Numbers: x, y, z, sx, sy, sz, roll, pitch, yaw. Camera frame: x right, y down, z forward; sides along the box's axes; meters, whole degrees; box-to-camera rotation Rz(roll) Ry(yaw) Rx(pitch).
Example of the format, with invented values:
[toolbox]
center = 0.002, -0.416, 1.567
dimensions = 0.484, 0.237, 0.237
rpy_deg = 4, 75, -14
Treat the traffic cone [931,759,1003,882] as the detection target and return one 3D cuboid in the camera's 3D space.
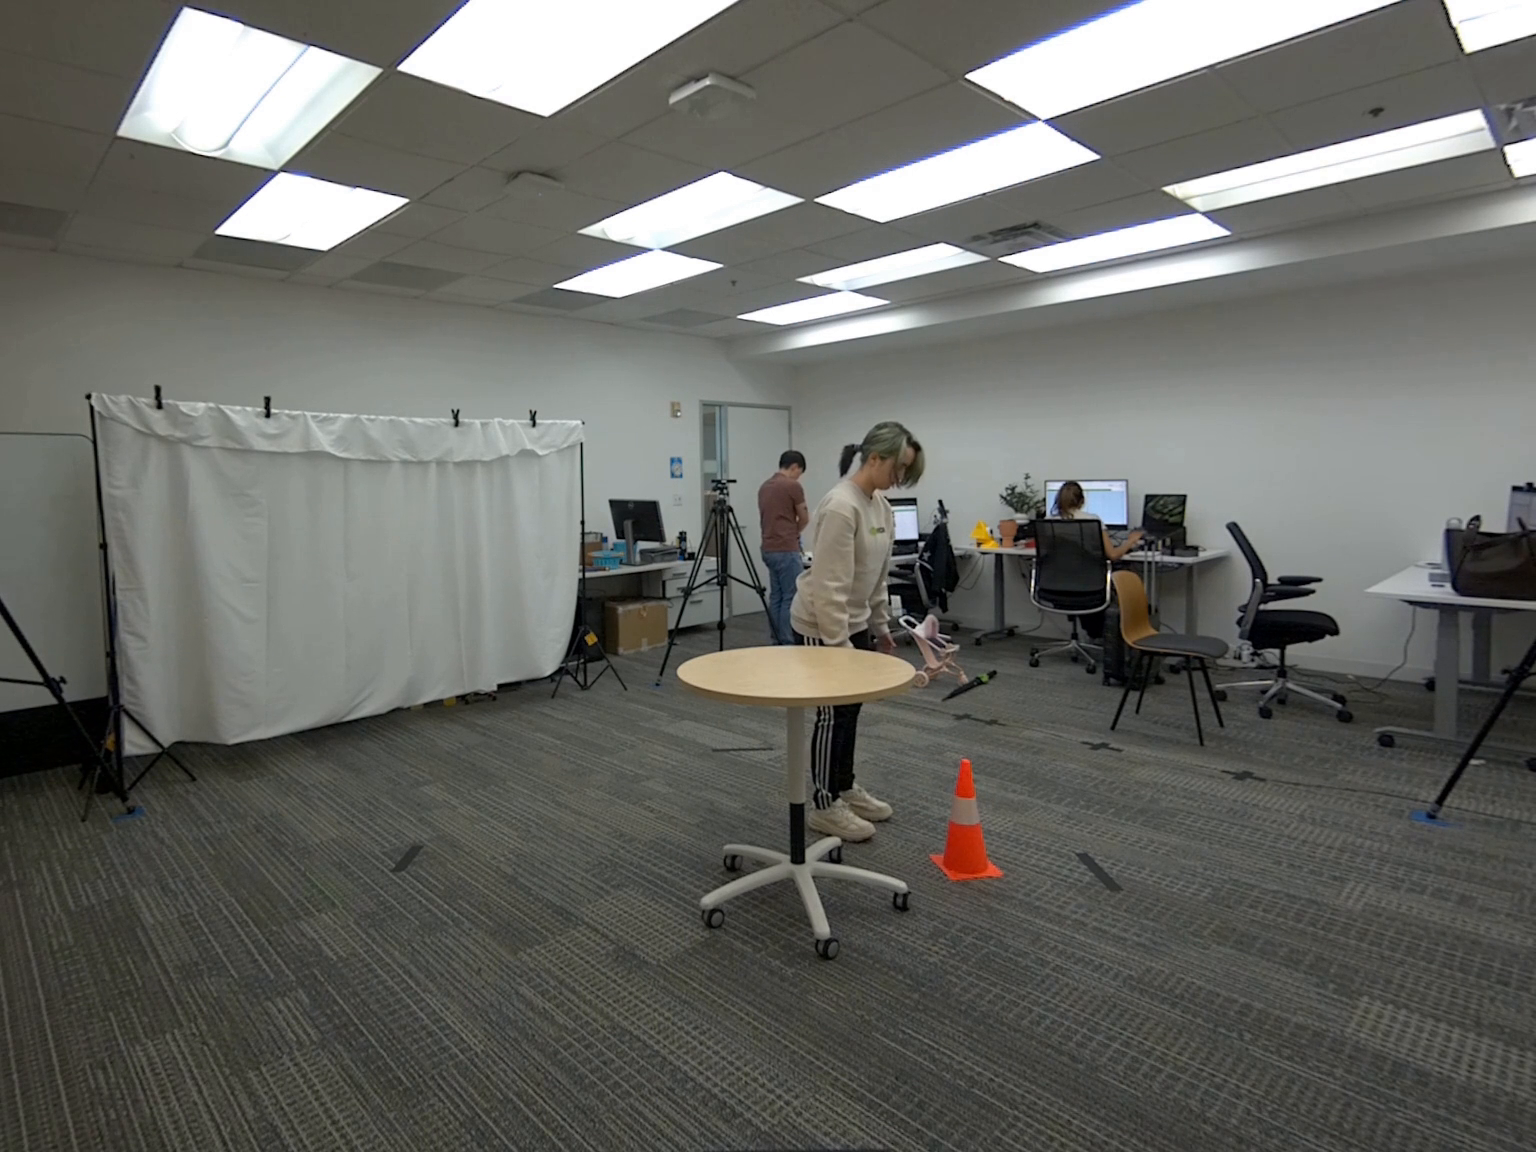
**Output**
[traffic cone]
center = 0.709, 0.855, 3.052
dimensions = 0.201, 0.382, 0.207
rpy_deg = -2, 4, -10
